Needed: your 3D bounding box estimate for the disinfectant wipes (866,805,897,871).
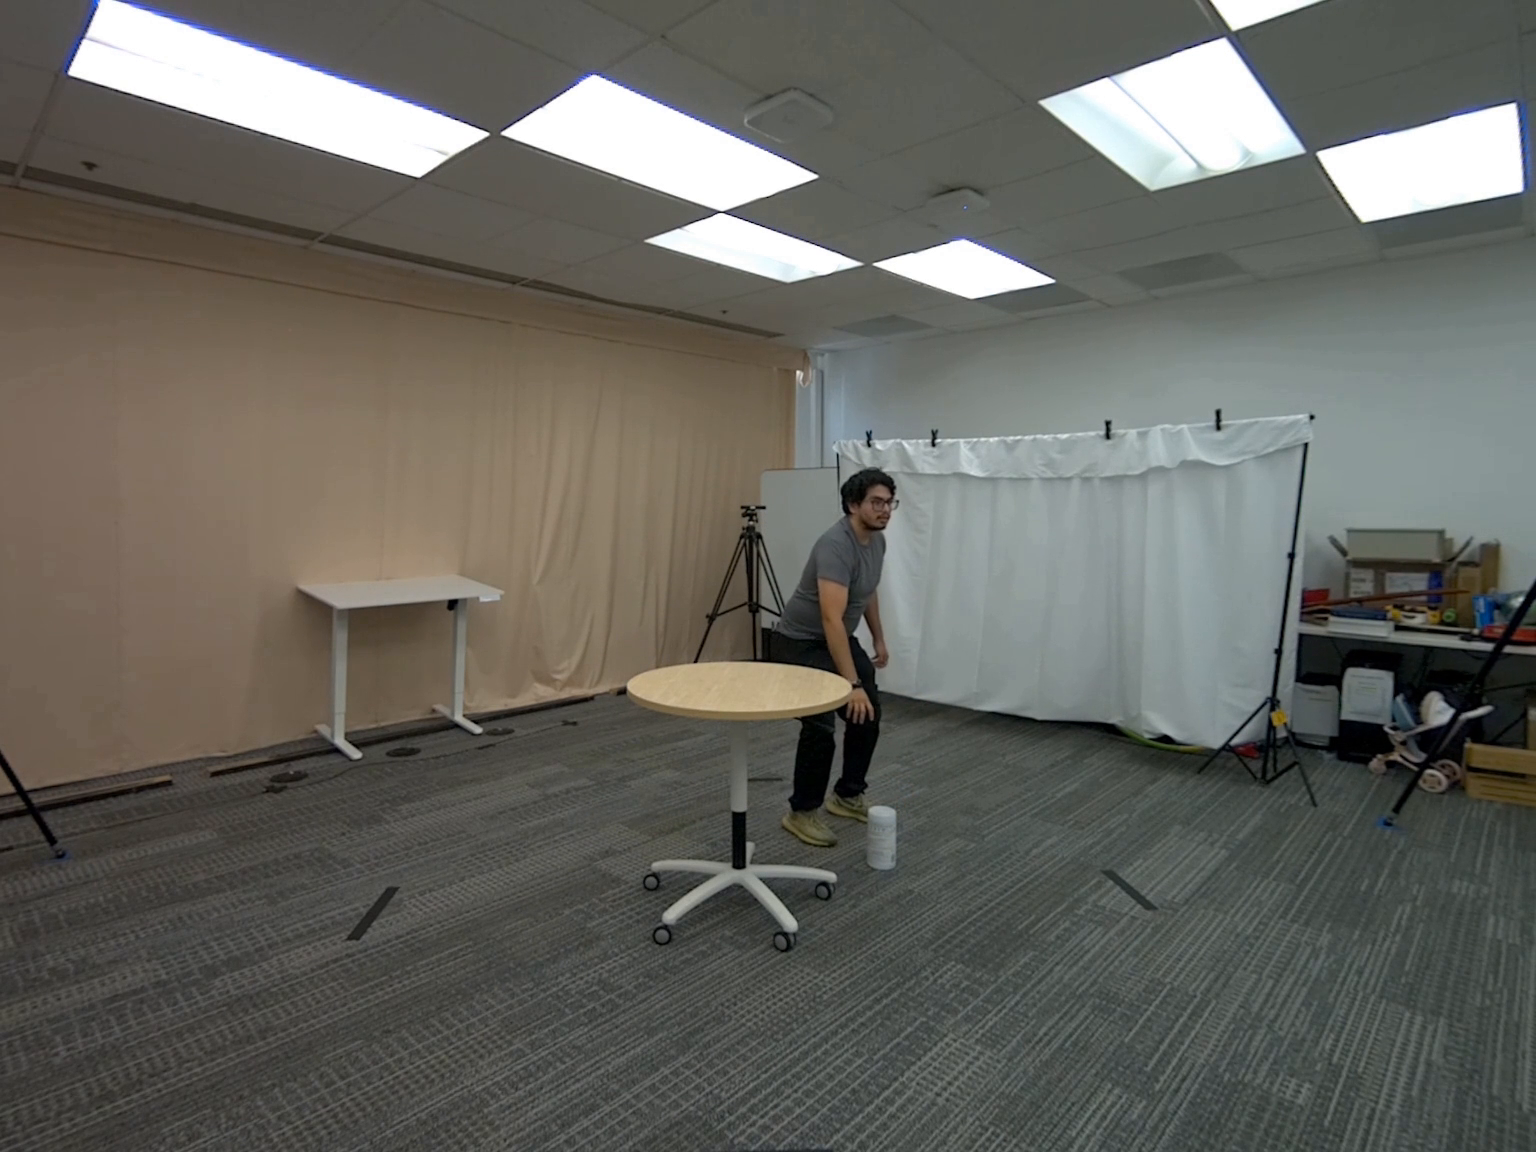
[{"bbox_3d":[0.439,1.009,3.261,0.118,0.217,0.118,-1,4,-2],"label":"disinfectant wipes"}]
